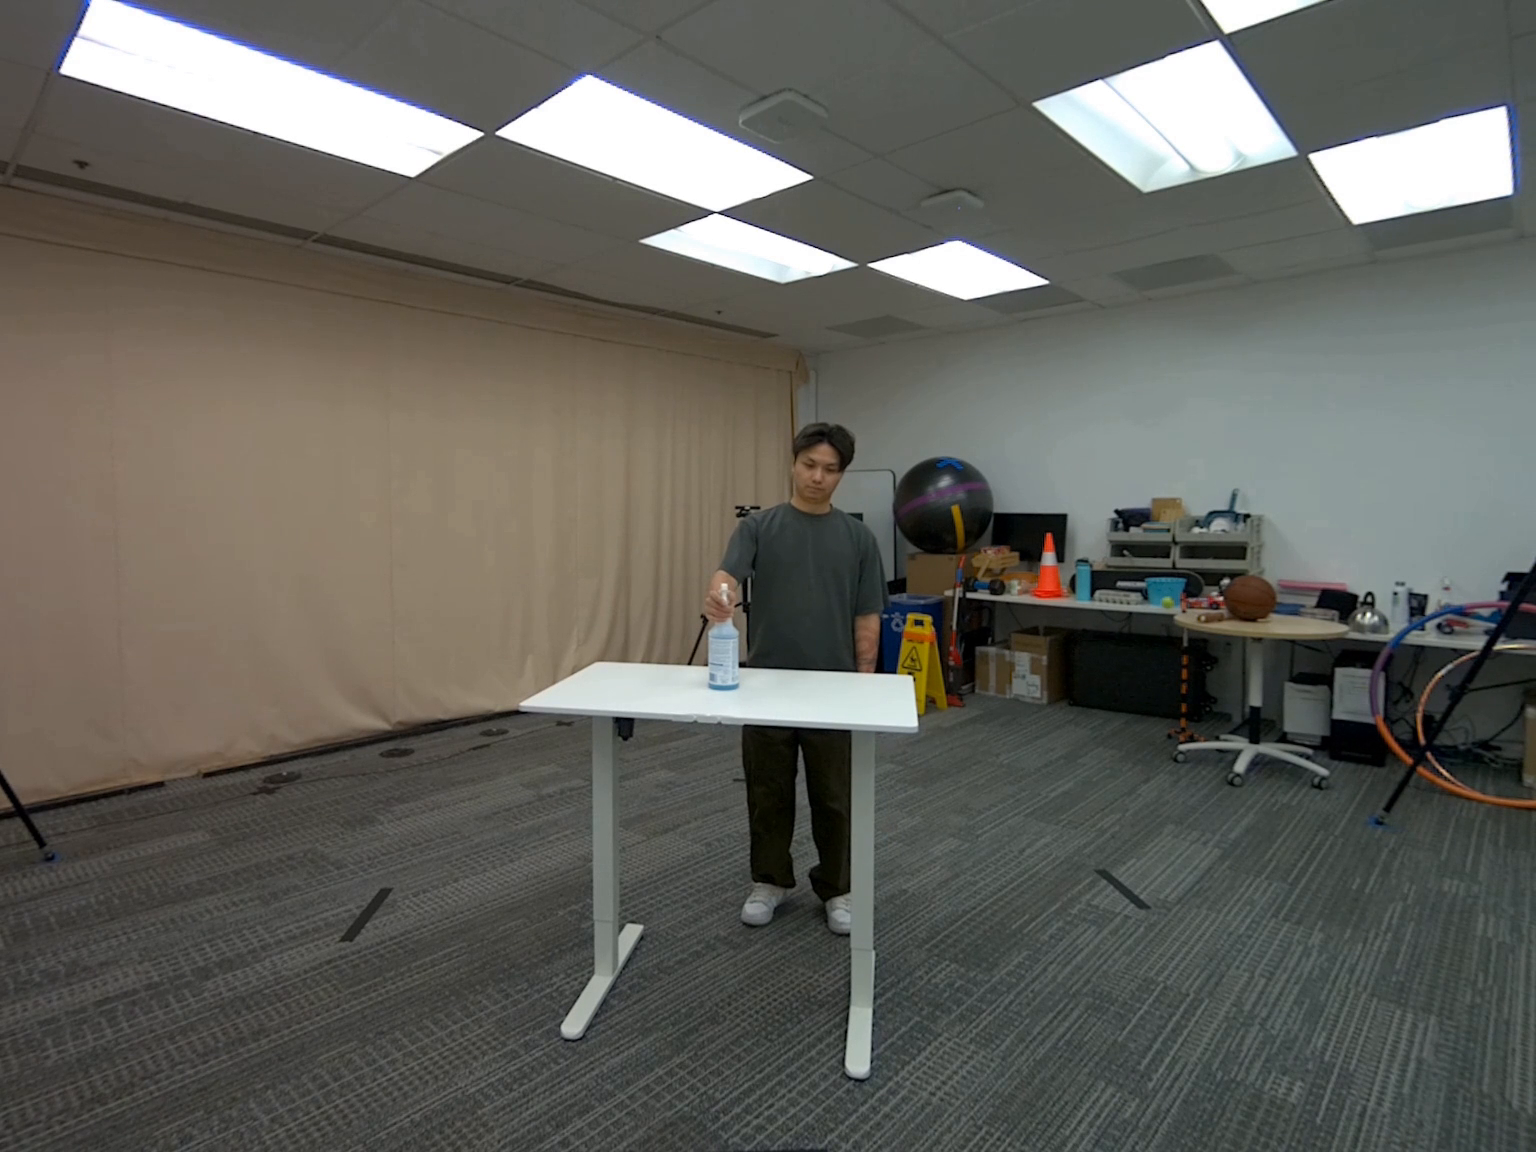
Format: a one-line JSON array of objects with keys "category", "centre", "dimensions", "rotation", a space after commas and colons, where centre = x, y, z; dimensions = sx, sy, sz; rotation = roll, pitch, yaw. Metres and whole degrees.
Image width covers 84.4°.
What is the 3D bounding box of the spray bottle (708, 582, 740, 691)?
[{"category": "spray bottle", "centre": [-0.122, 0.170, 2.361], "dimensions": [0.089, 0.296, 0.088], "rotation": [5, 7, 21]}]
